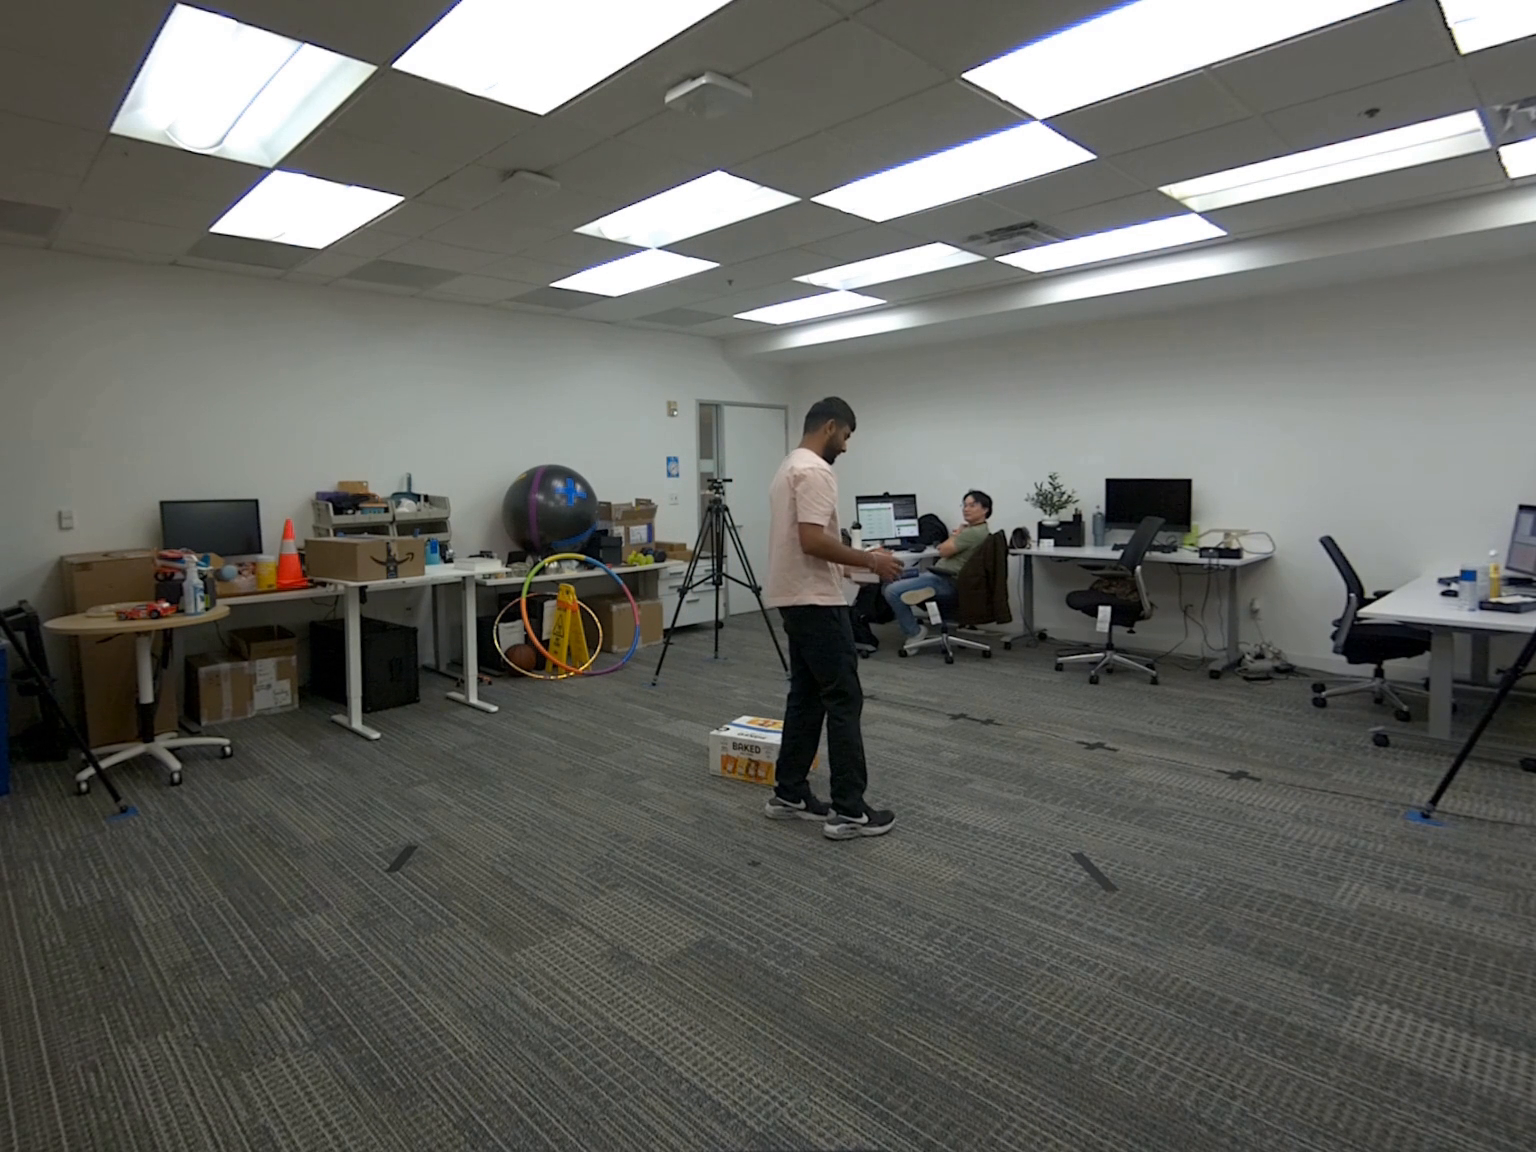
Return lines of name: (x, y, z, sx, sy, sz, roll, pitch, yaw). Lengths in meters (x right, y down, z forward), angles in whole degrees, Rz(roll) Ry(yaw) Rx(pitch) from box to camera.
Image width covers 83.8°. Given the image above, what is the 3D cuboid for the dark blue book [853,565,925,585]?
dark blue book: (0.493, -0.007, 3.504, 0.239, 0.045, 0.168, -8, 7, -39)
